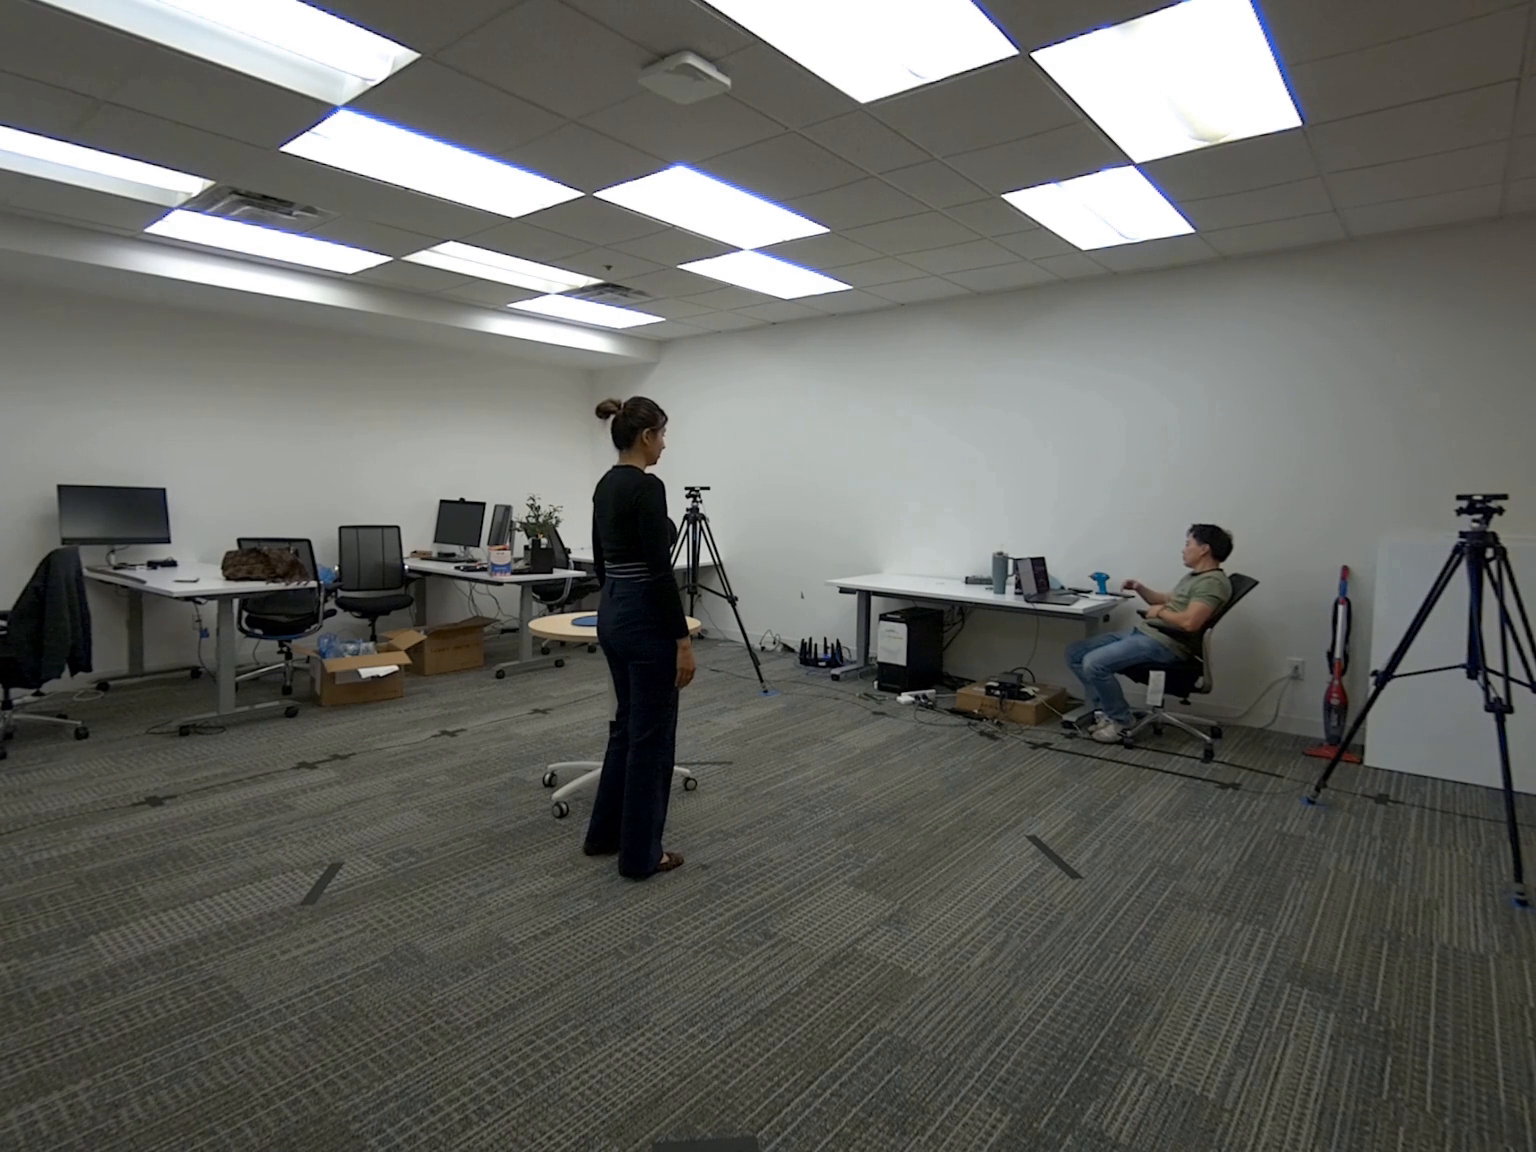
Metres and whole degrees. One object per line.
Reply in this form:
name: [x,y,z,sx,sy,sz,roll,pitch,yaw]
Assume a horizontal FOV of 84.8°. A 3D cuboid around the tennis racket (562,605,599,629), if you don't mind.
tennis racket: [-0.771,0.188,3.893,0.216,0.031,0.430,2,7,9]
